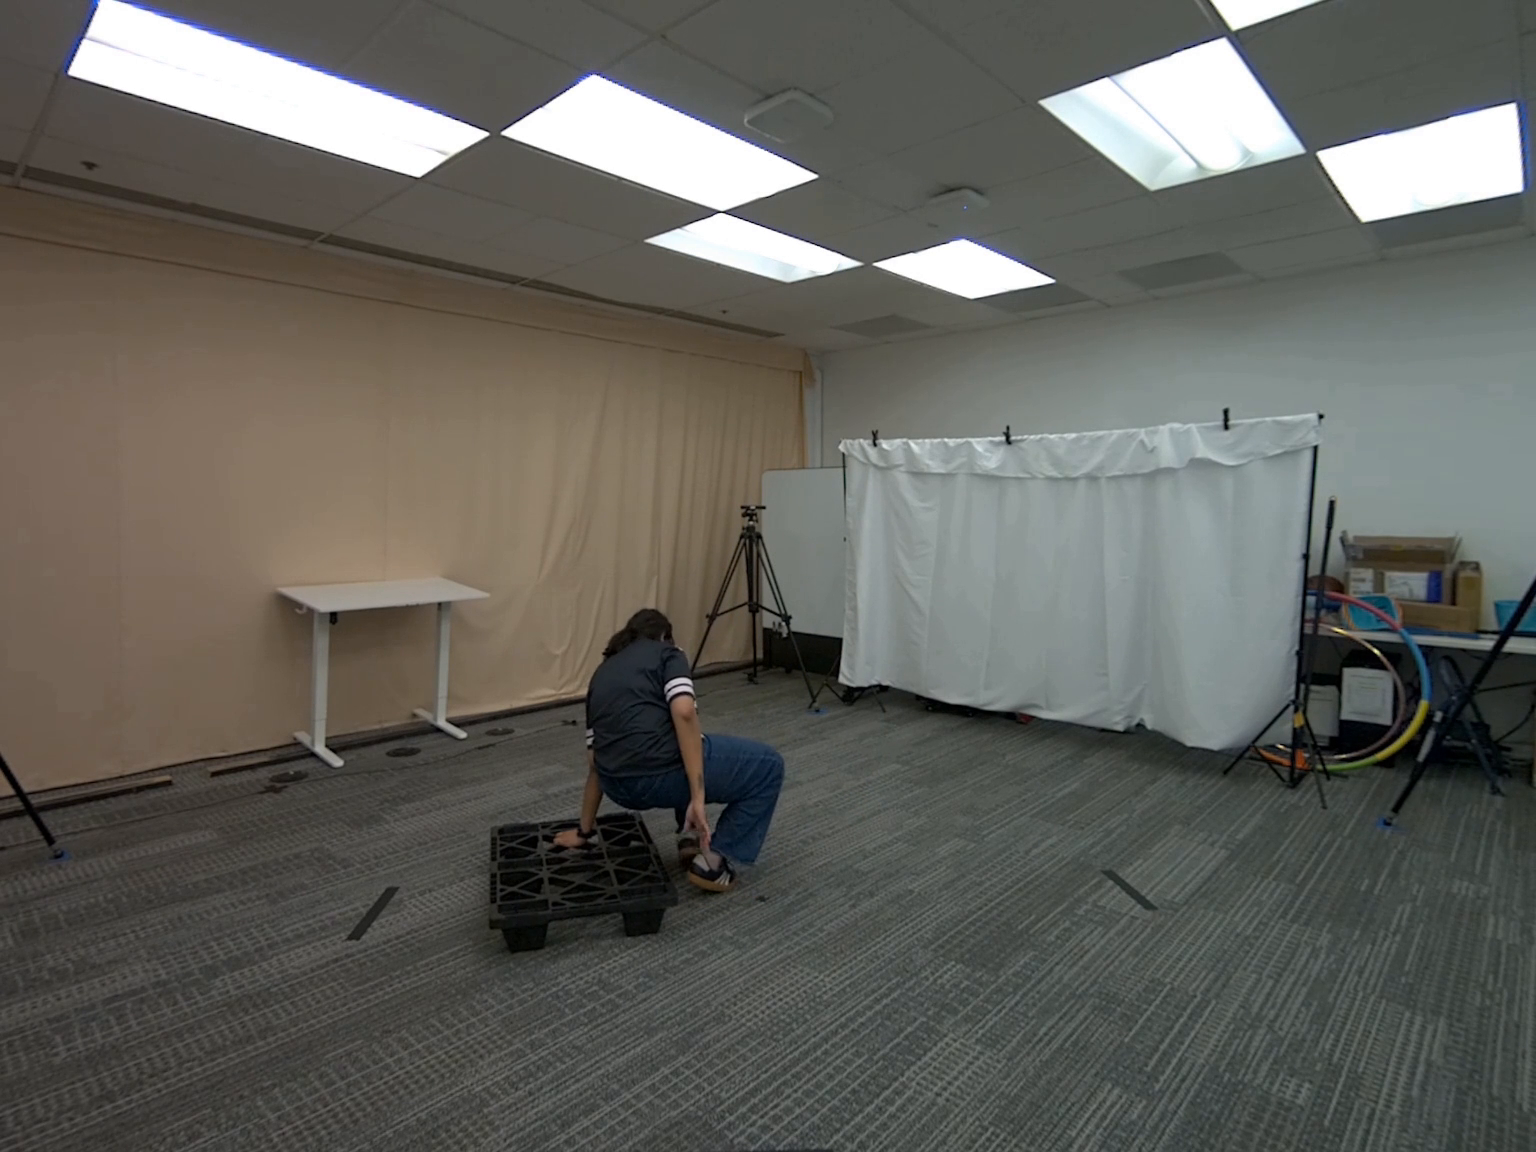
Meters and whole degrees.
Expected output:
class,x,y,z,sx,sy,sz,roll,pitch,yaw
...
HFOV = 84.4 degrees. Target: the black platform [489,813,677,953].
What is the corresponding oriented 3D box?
class,x,y,z,sx,sy,sz,roll,pitch,yaw
black platform,-0.695,1.081,3.040,0.596,0.143,0.820,-1,5,-16
